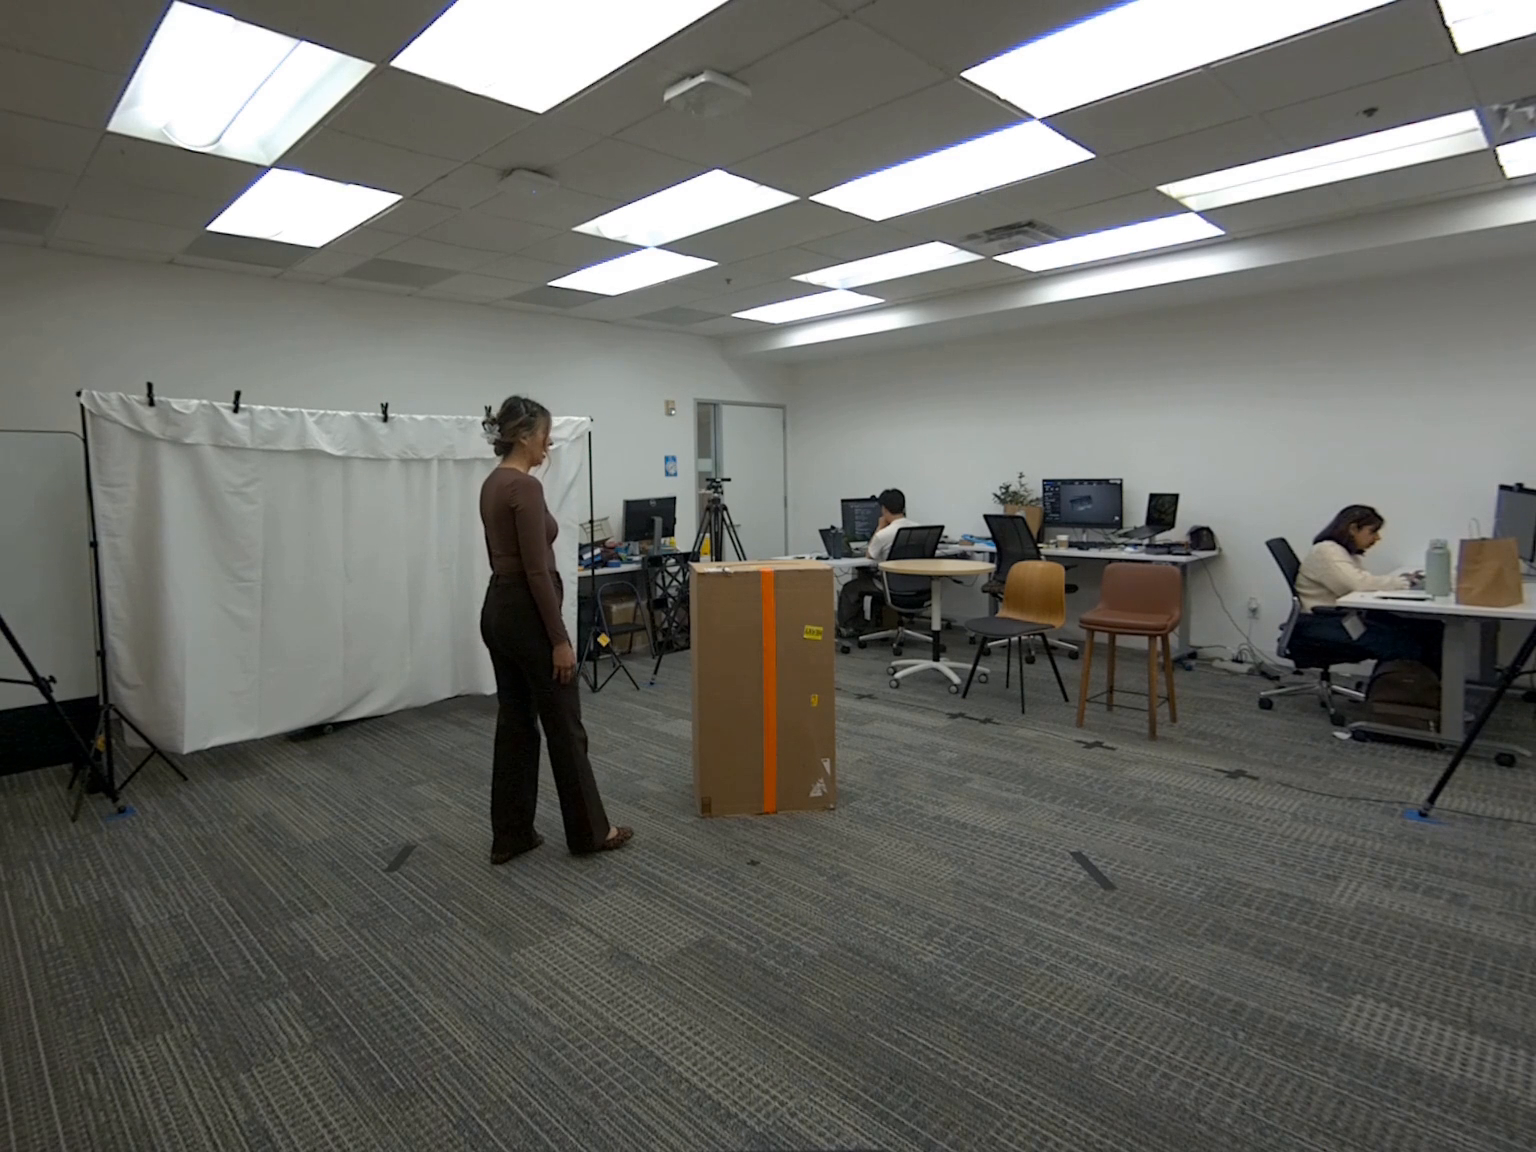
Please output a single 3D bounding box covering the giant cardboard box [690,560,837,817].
[{"bbox_3d":[-0.032,0.460,3.741,0.579,1.024,0.452,-2,3,-9],"label":"giant cardboard box"}]
